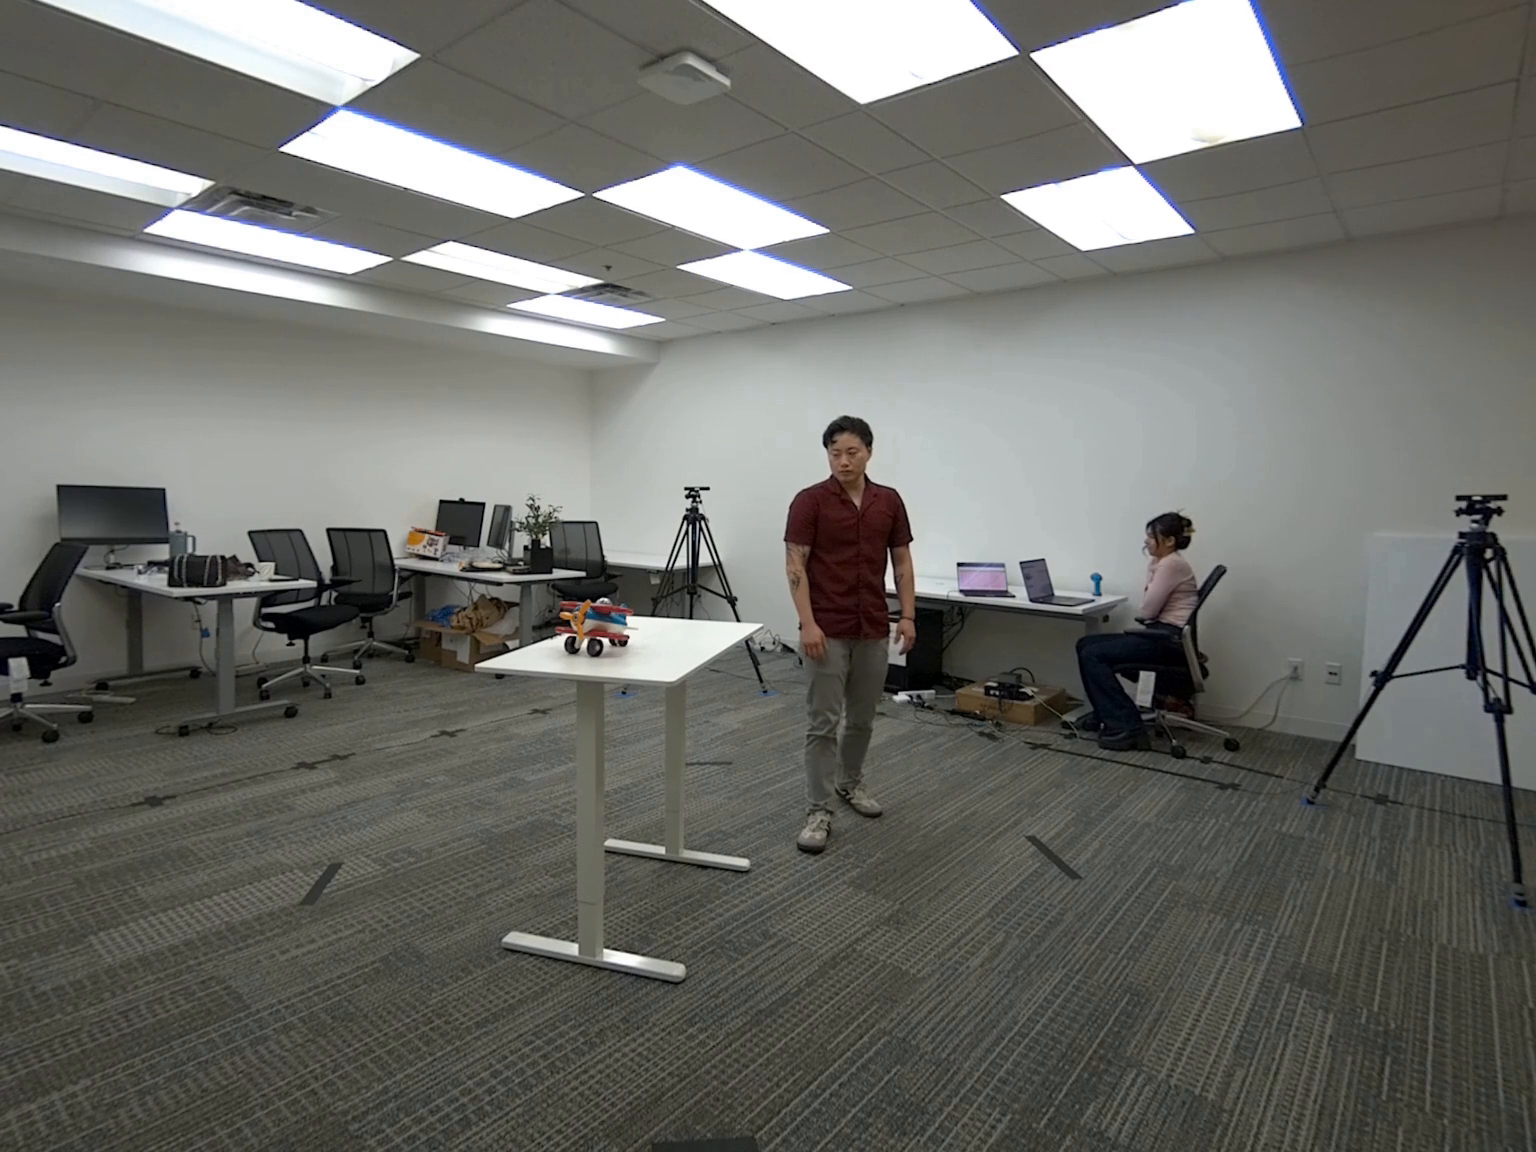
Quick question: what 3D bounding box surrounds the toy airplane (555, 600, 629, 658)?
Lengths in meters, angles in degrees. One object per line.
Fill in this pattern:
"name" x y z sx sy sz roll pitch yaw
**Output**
"toy airplane" -0.544 0.154 2.643 0.251 0.156 0.260 -1 5 0
